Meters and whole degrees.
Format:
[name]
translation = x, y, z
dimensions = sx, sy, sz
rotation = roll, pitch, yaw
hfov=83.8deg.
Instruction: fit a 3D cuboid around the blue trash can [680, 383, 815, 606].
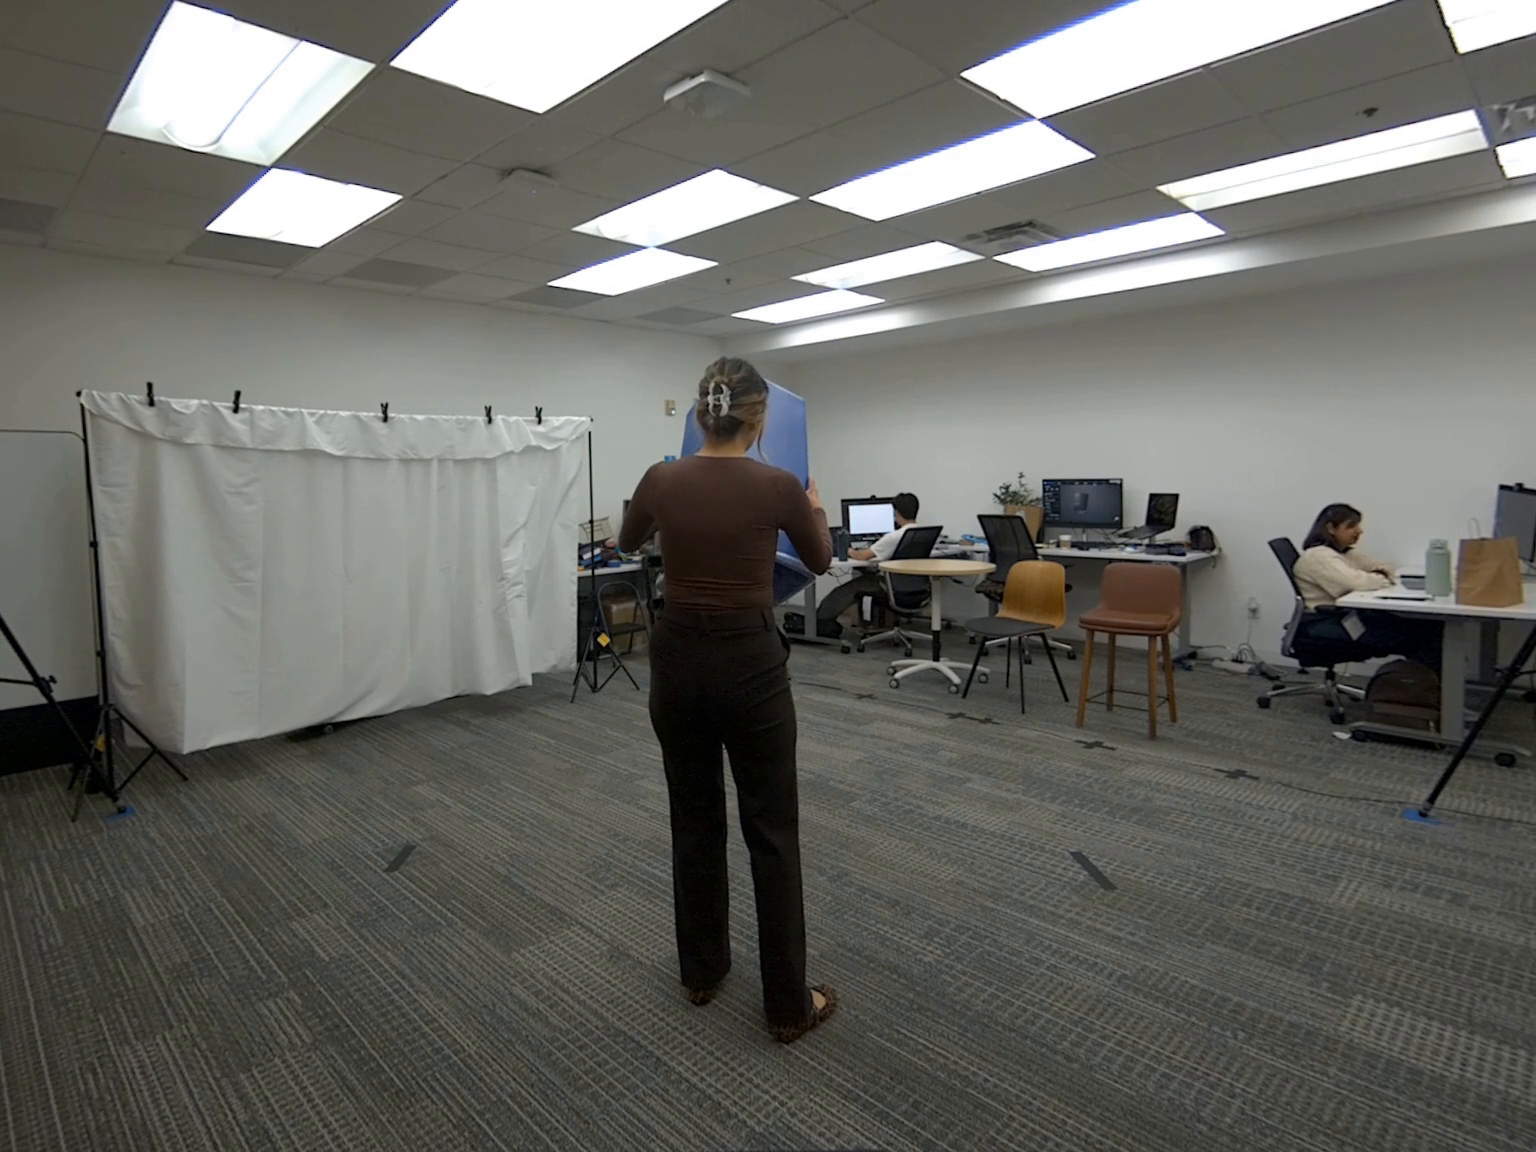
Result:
[blue trash can]
translation = -0.091, -0.279, 2.713
dimensions = 0.364, 0.731, 0.379
rotation = 21, -38, -26
